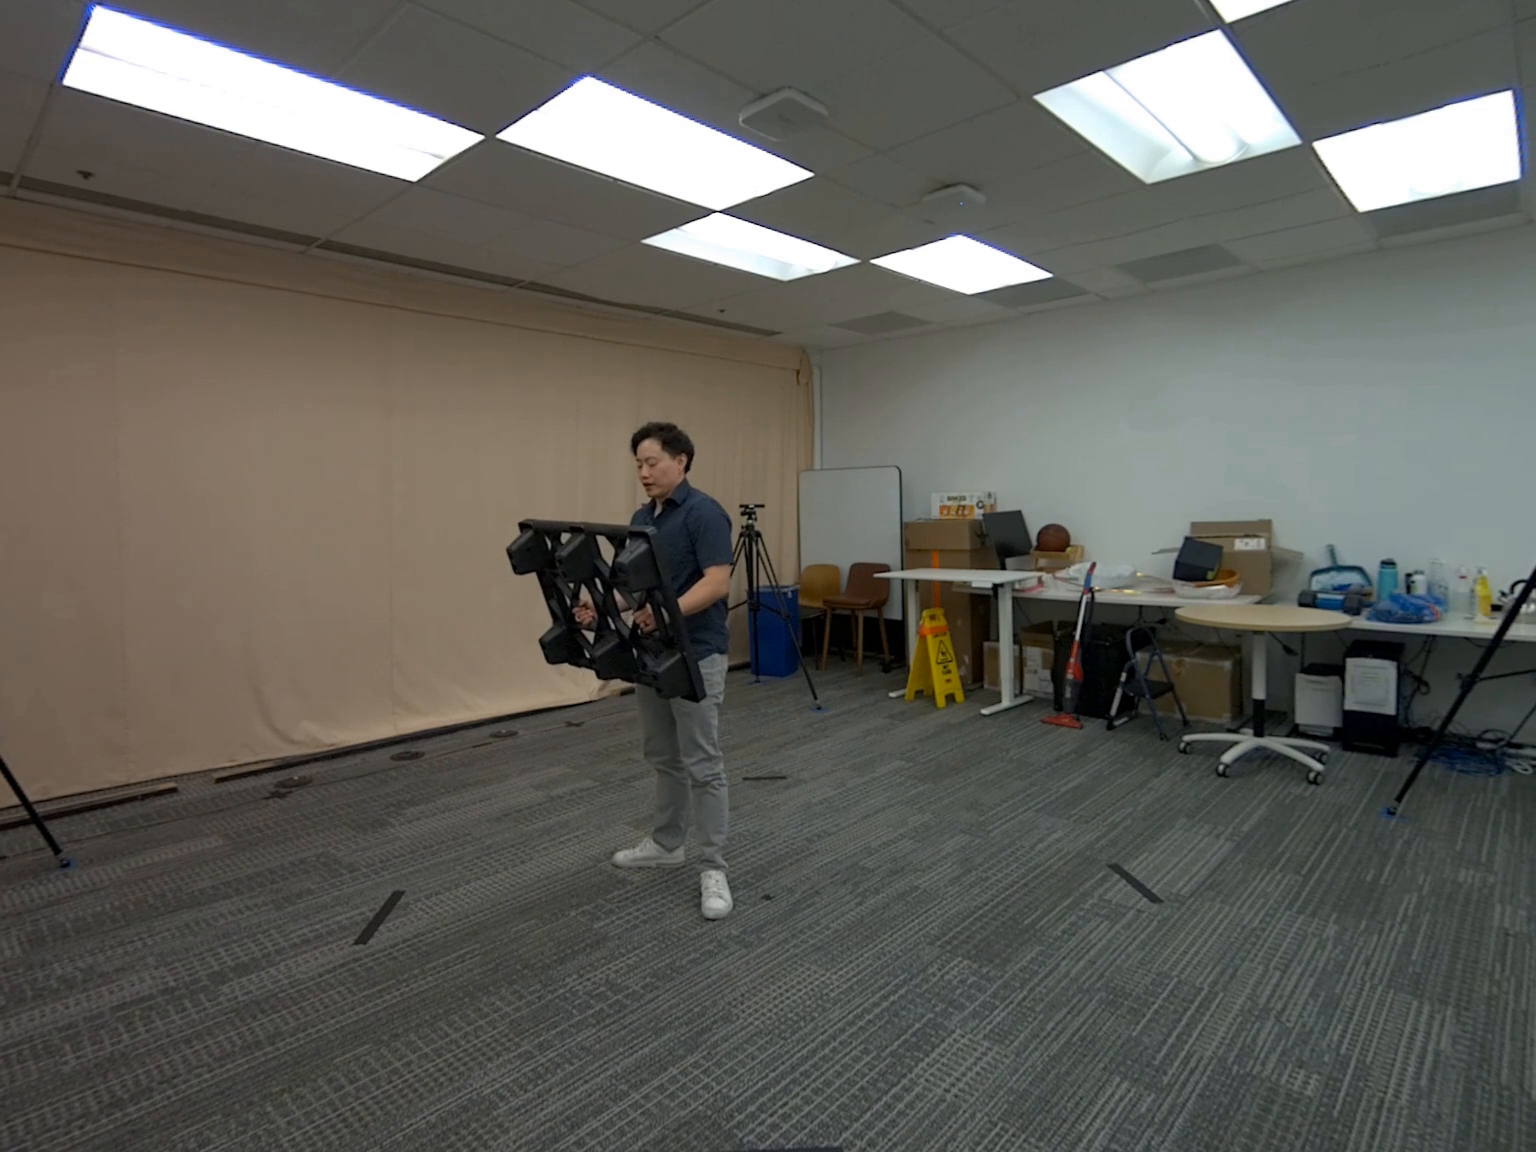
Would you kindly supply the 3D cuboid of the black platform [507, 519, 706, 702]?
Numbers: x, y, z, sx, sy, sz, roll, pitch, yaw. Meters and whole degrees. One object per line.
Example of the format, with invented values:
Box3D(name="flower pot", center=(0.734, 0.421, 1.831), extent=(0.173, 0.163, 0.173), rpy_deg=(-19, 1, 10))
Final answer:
Box3D(name="black platform", center=(-0.586, 0.113, 2.875), extent=(0.141, 0.596, 0.833), rpy_deg=(-29, 23, -38))
